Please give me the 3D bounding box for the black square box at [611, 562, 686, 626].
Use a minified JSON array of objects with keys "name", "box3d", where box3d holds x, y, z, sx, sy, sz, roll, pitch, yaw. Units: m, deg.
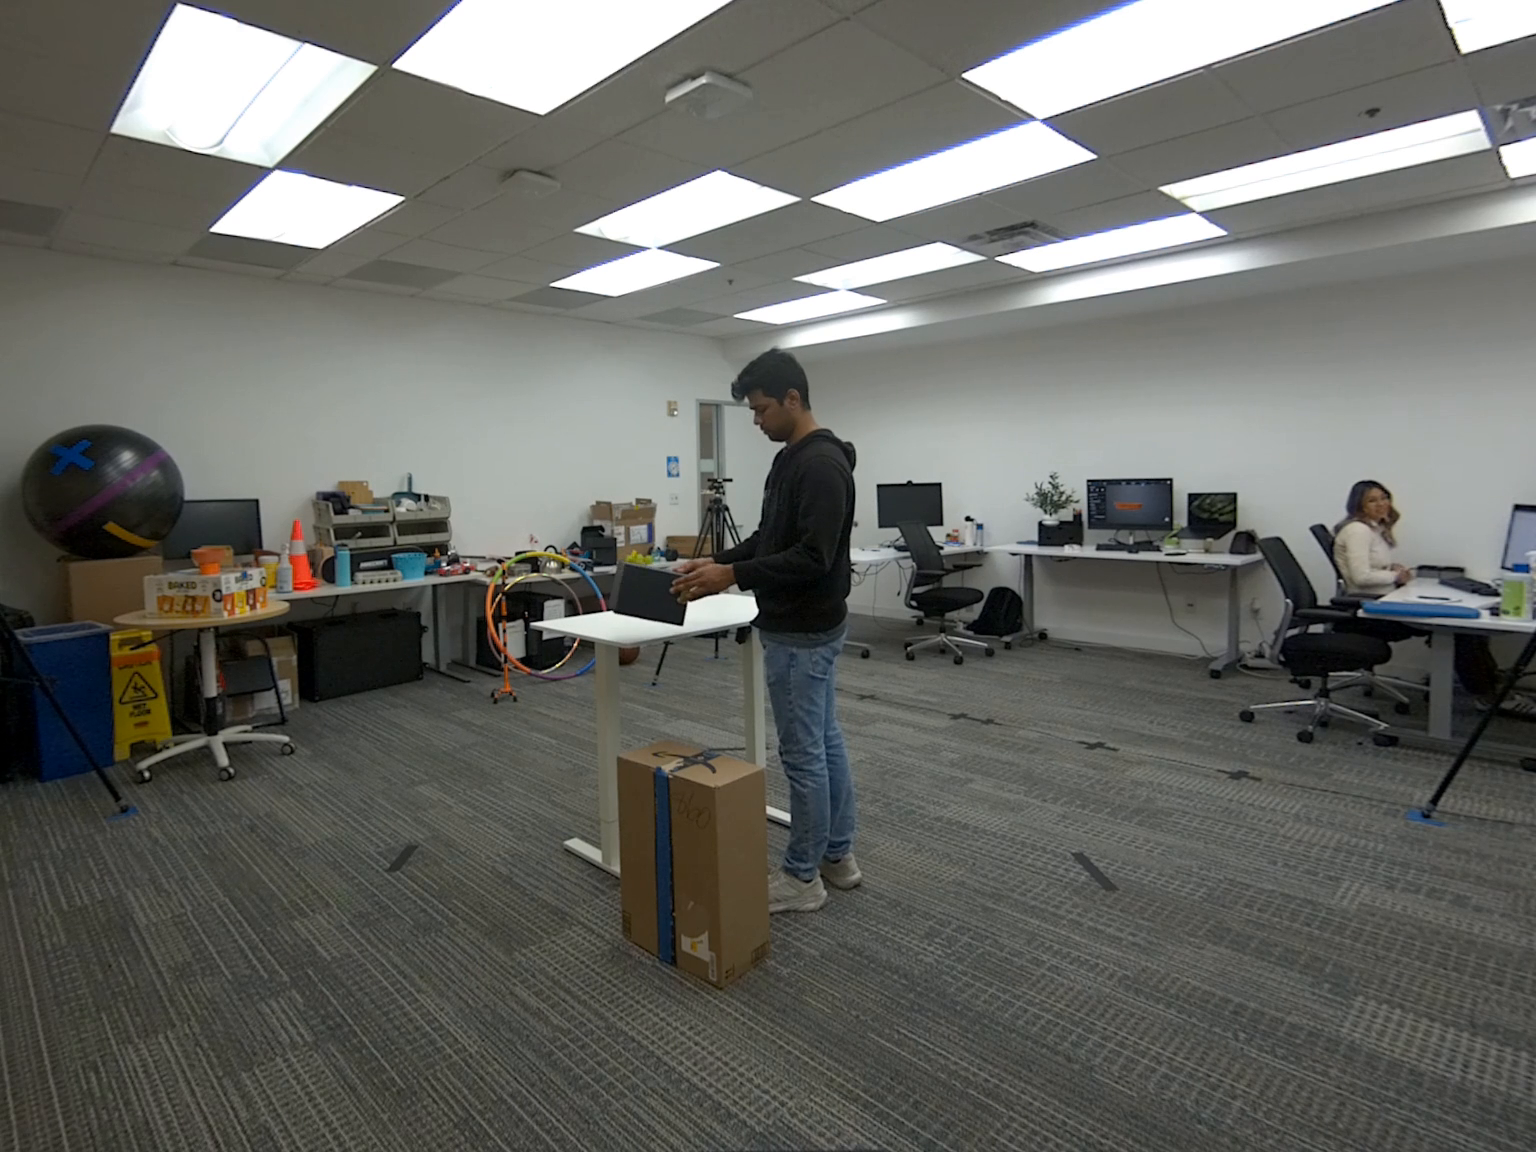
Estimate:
[{"name":"black square box","box3d":[-0.362,0.055,2.702,0.214,0.156,0.231,11,0,-12]}]
